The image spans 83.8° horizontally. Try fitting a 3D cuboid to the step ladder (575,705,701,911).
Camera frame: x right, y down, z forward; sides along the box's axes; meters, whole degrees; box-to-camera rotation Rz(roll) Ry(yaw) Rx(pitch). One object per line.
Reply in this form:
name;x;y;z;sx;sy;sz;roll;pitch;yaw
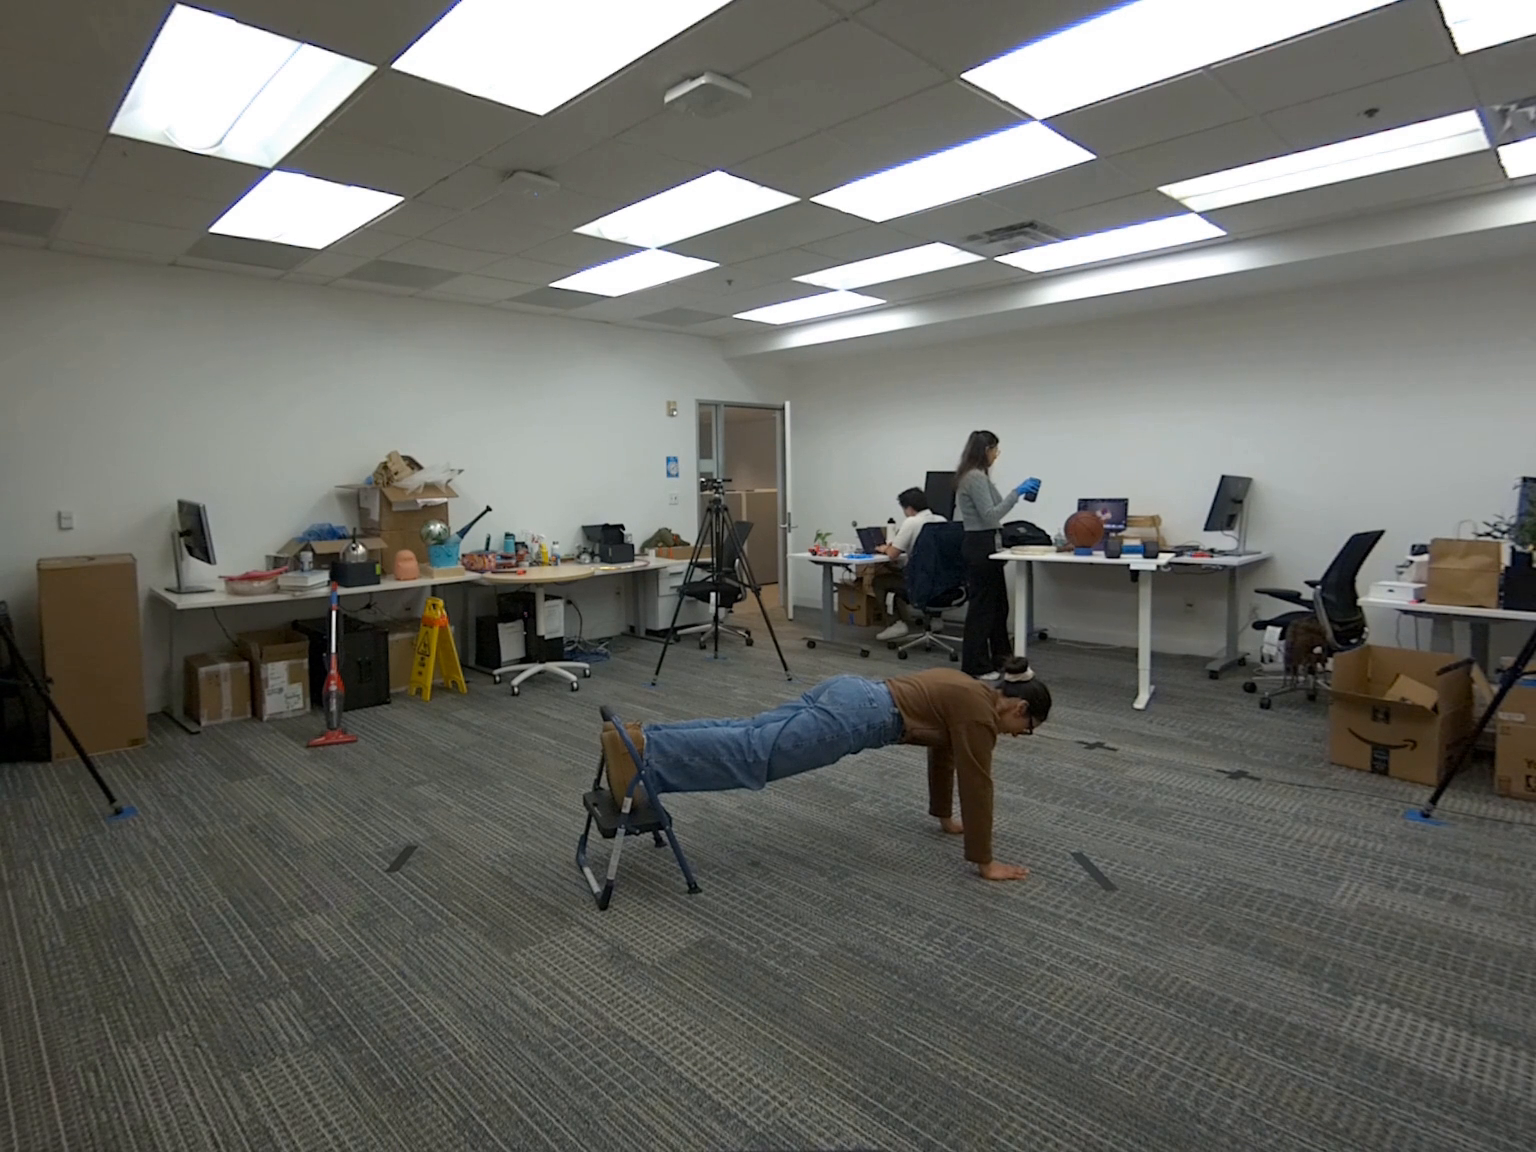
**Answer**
step ladder;-0.473;0.763;3.009;0.342;0.604;0.441;-3;5;-24
